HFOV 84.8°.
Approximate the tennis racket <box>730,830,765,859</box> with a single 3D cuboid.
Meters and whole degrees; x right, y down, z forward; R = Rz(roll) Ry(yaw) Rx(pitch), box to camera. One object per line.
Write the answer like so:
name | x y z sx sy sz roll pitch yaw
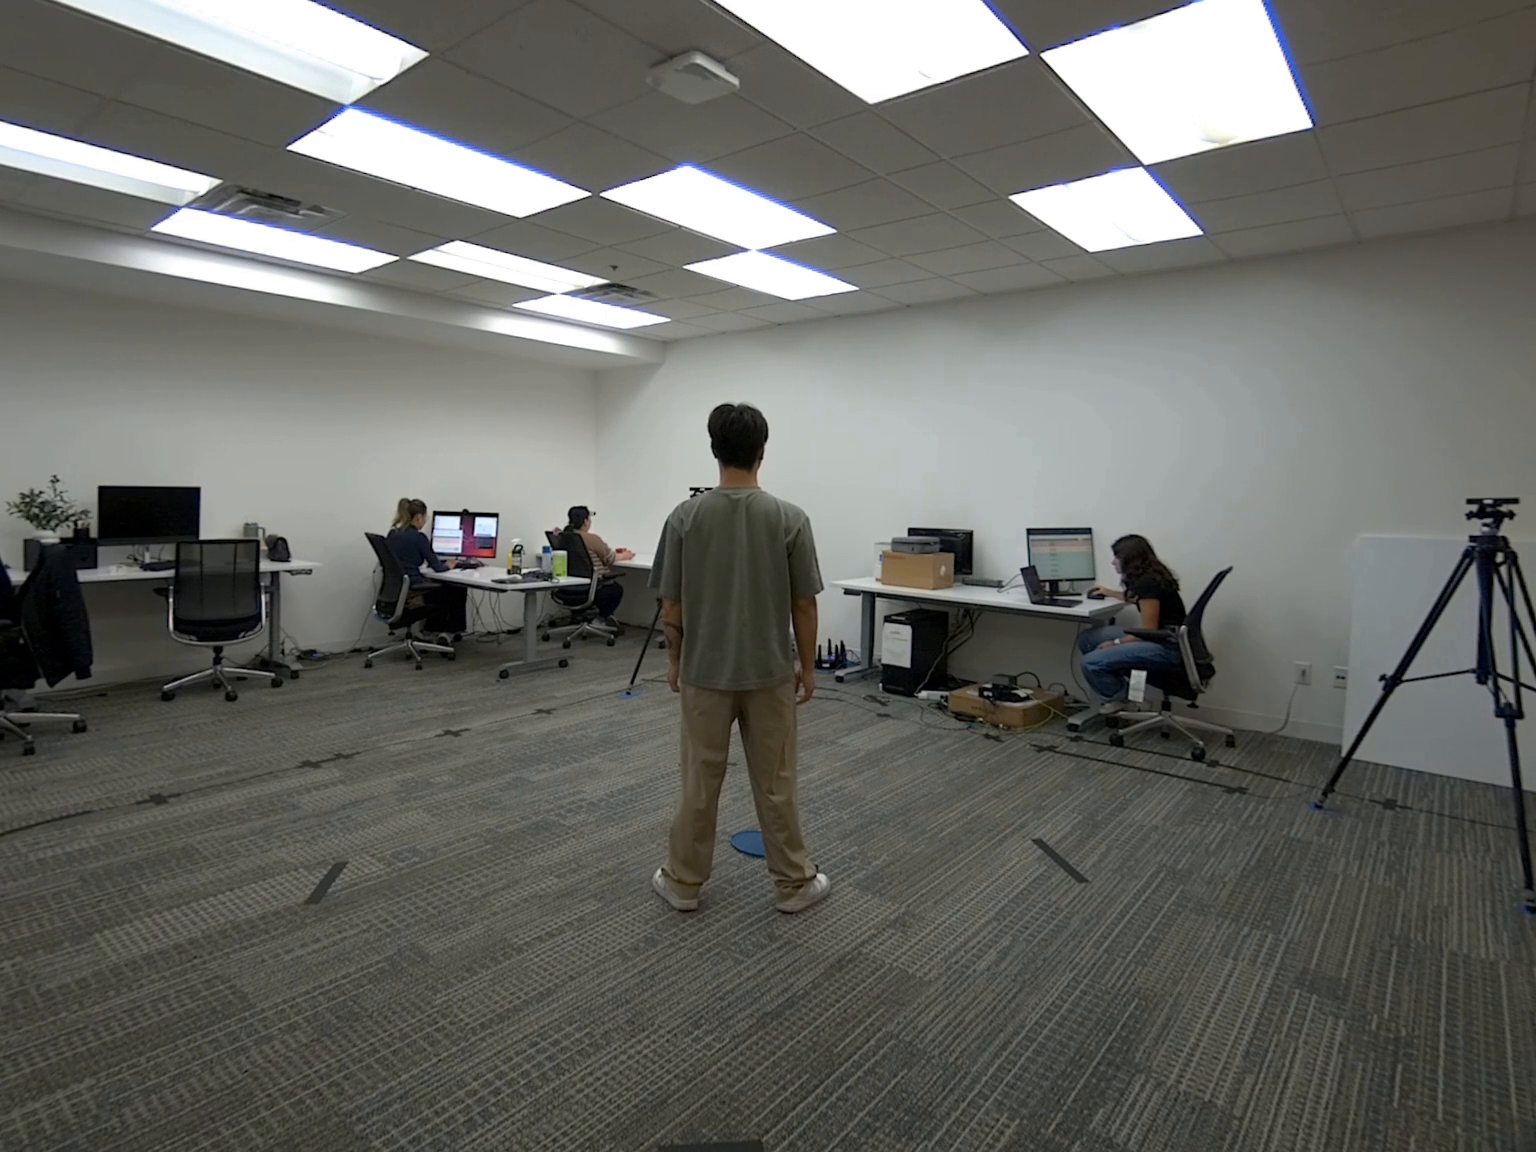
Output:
tennis racket | 0.011 1.044 3.248 0.207 0.031 0.447 -4 7 -39
